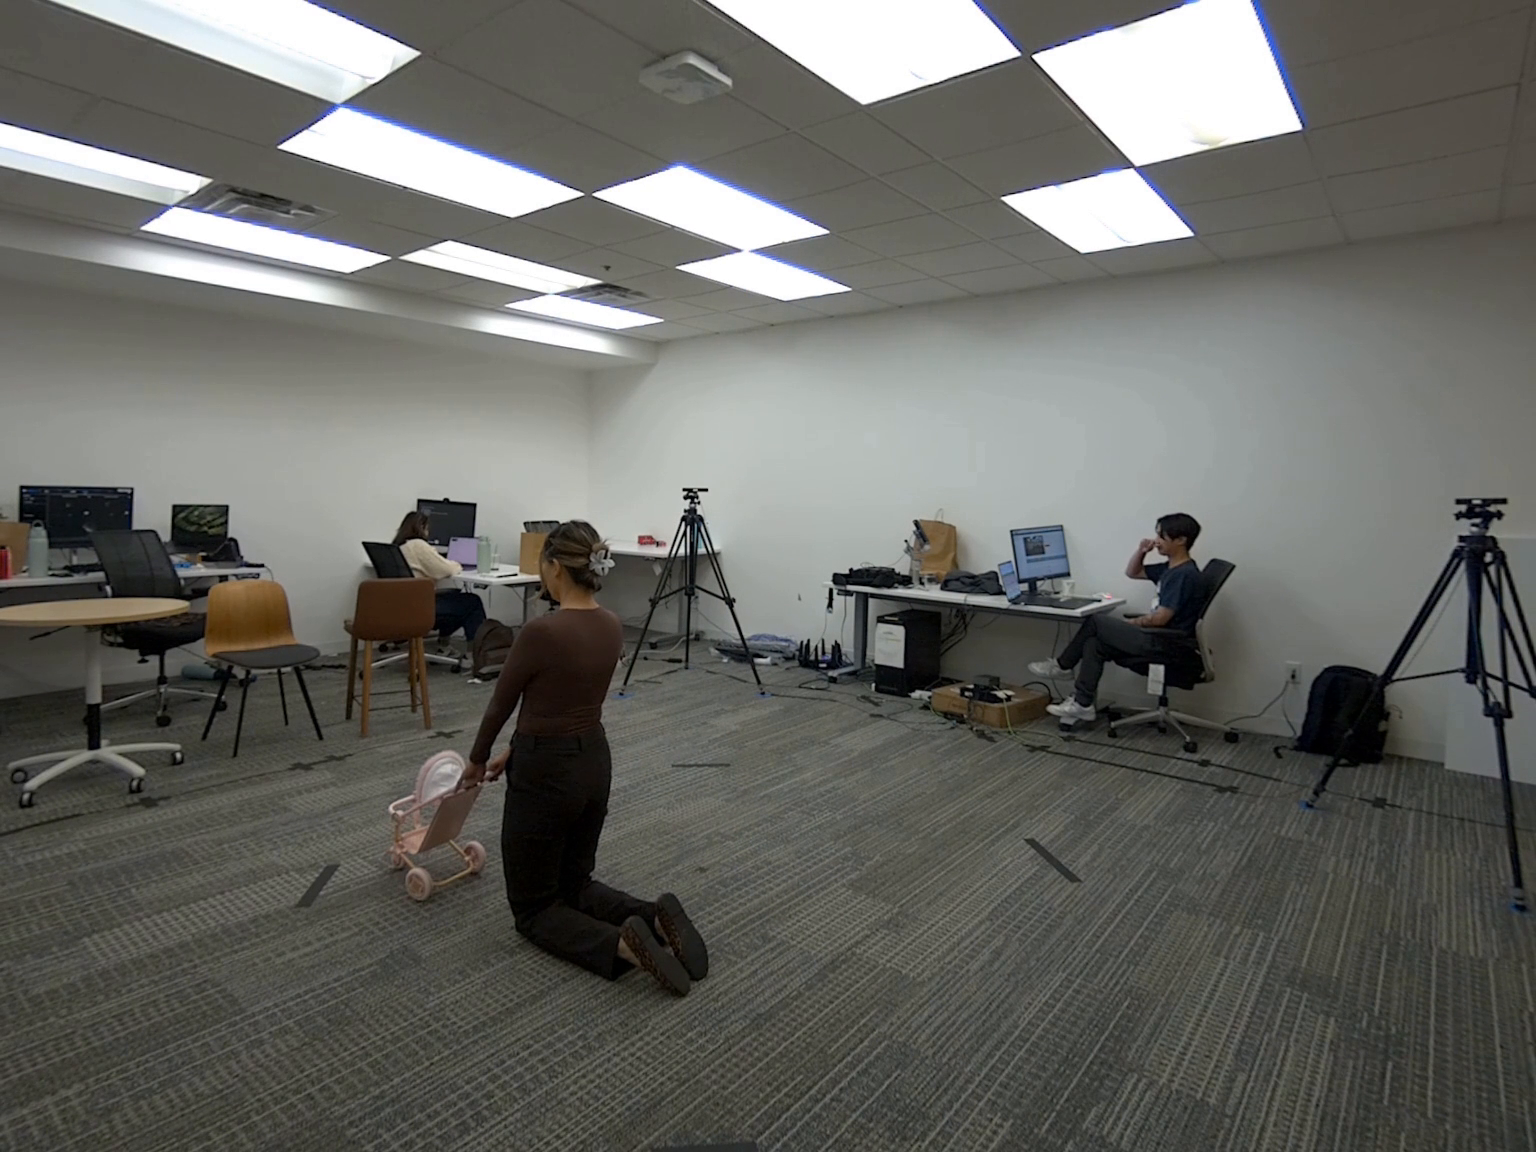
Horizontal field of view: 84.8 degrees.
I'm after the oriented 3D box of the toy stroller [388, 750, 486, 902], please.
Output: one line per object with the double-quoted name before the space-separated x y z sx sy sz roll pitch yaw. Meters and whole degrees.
"toy stroller" -1.171 0.845 2.970 0.354 0.531 0.273 24 14 30
